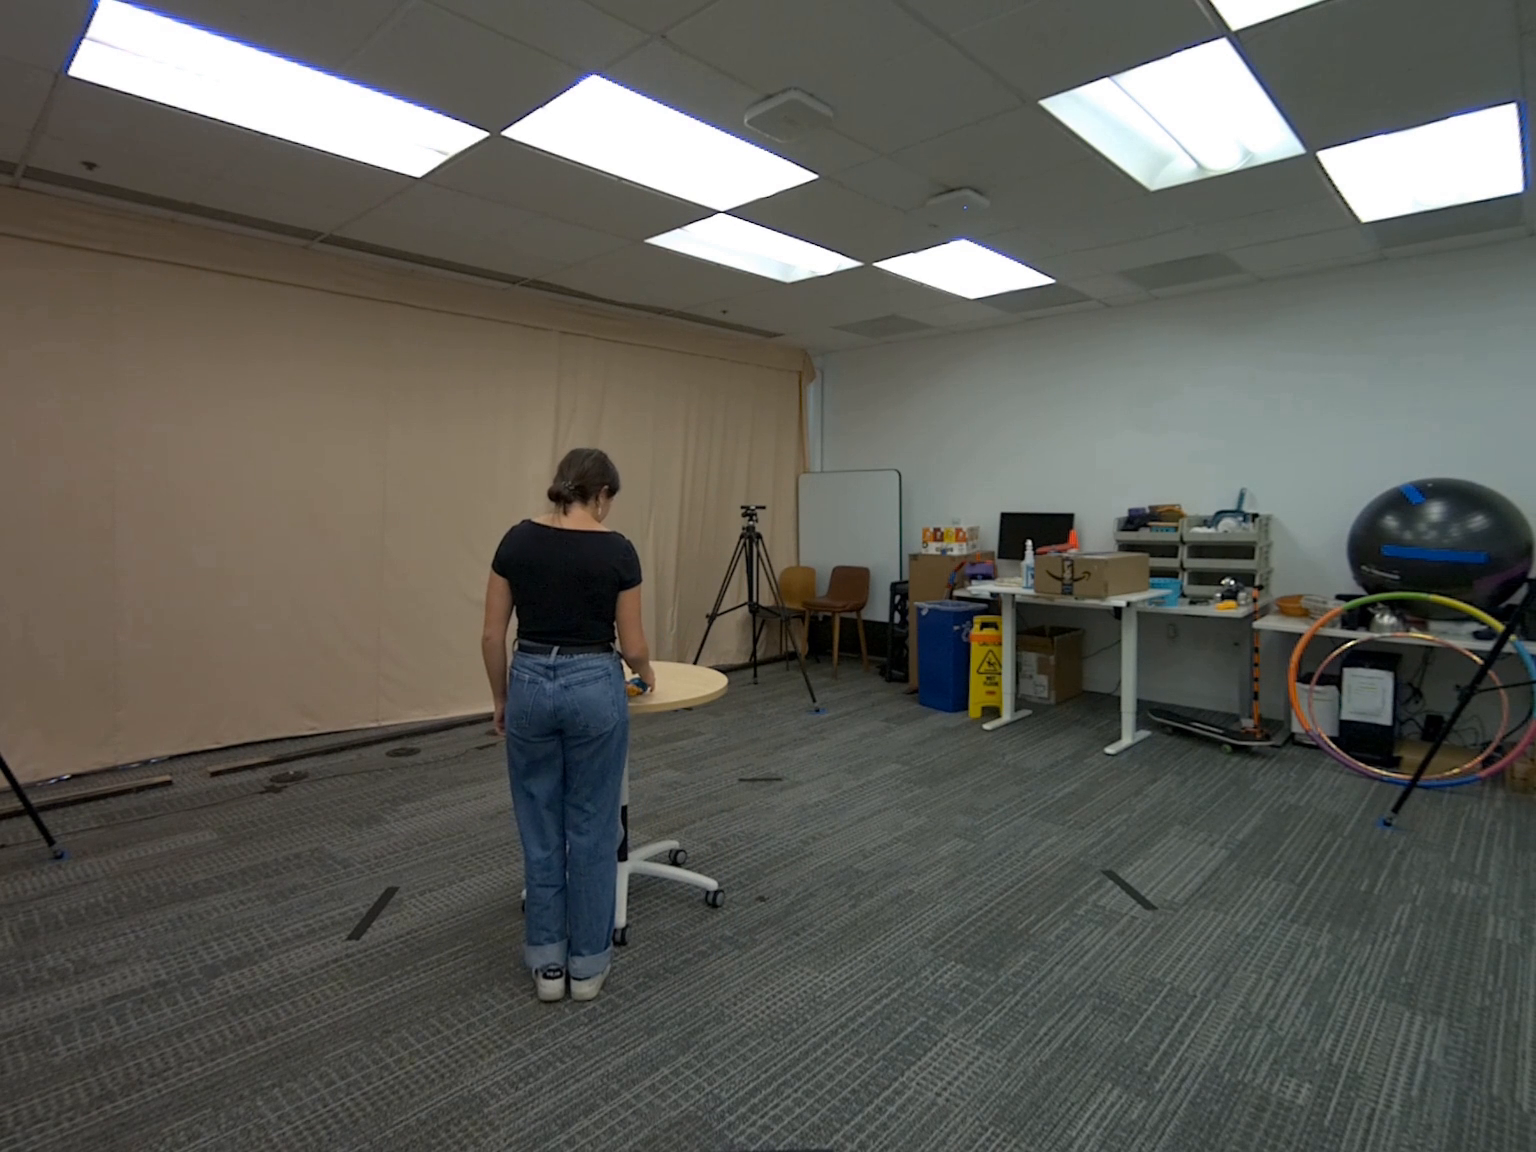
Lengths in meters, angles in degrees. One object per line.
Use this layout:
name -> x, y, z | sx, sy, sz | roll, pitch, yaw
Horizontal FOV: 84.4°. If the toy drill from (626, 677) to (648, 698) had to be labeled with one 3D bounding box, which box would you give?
toy drill -> -0.421, 0.362, 2.680 | 0.174, 0.061, 0.142 | -9, -2, 39
